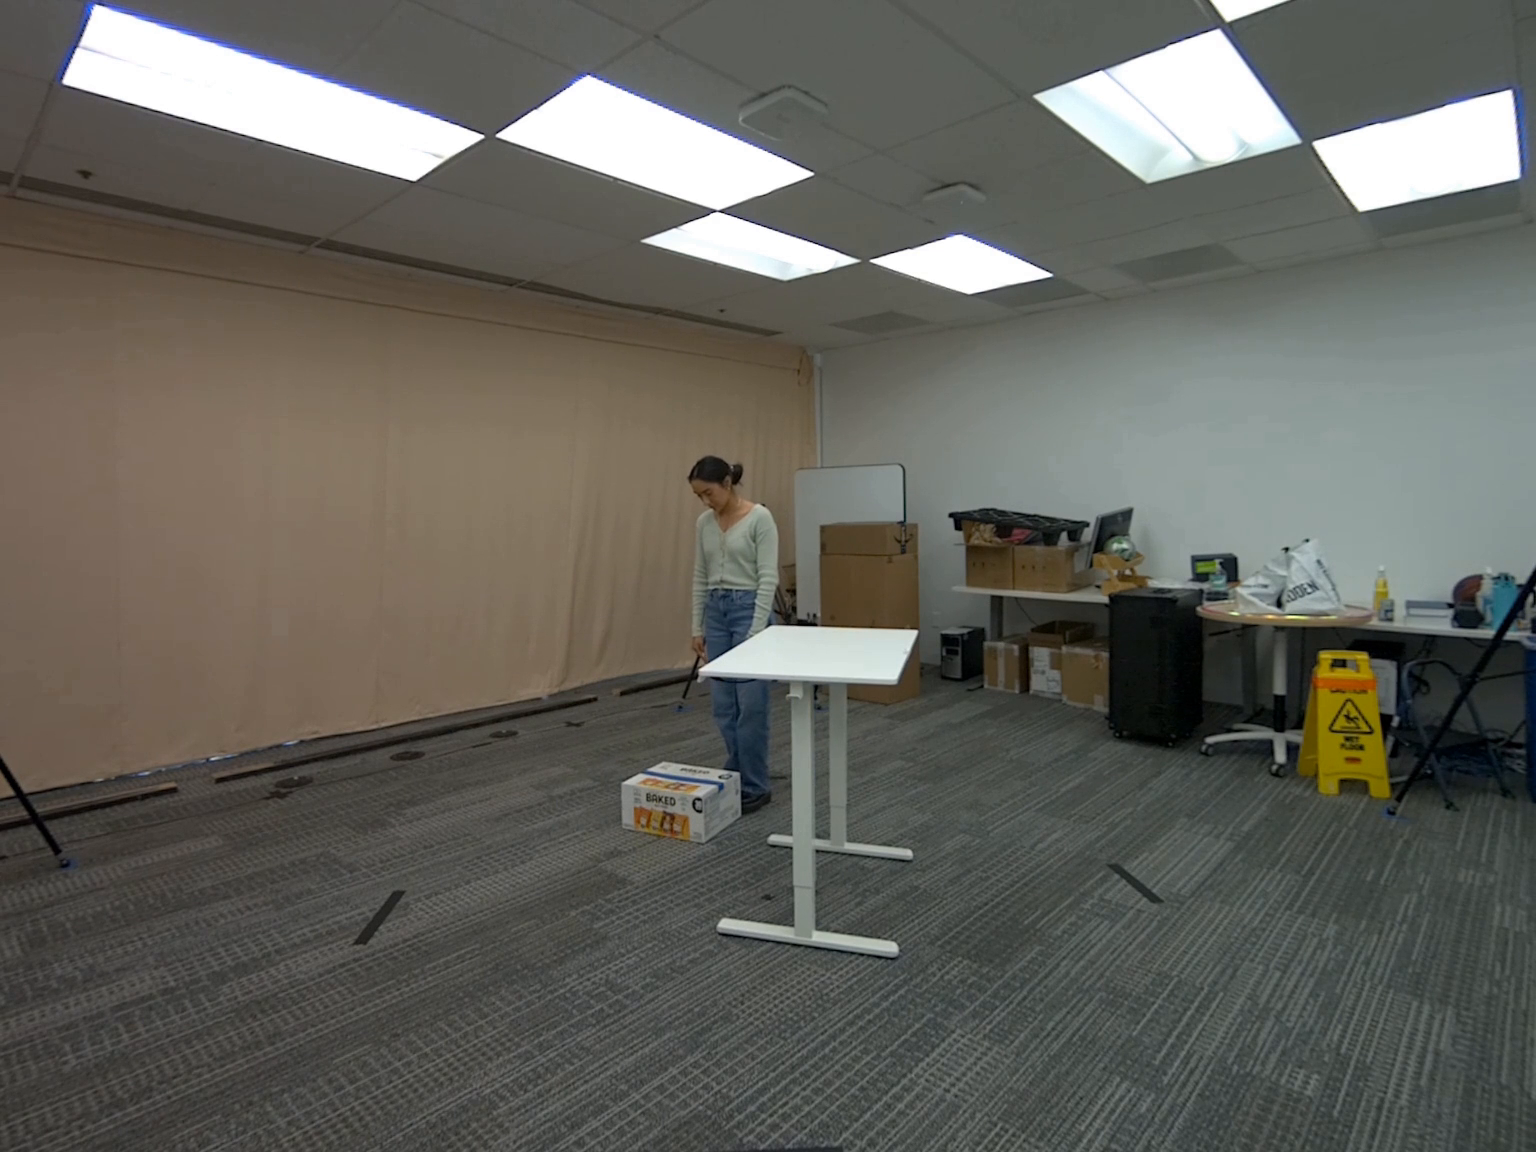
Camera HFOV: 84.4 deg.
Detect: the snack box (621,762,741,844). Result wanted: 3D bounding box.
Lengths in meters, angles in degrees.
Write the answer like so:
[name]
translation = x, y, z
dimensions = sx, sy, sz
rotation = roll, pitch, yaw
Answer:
[snack box]
translation = -0.377, 0.985, 3.698
dimensions = 0.416, 0.205, 0.332
rotation = 1, 5, 27
